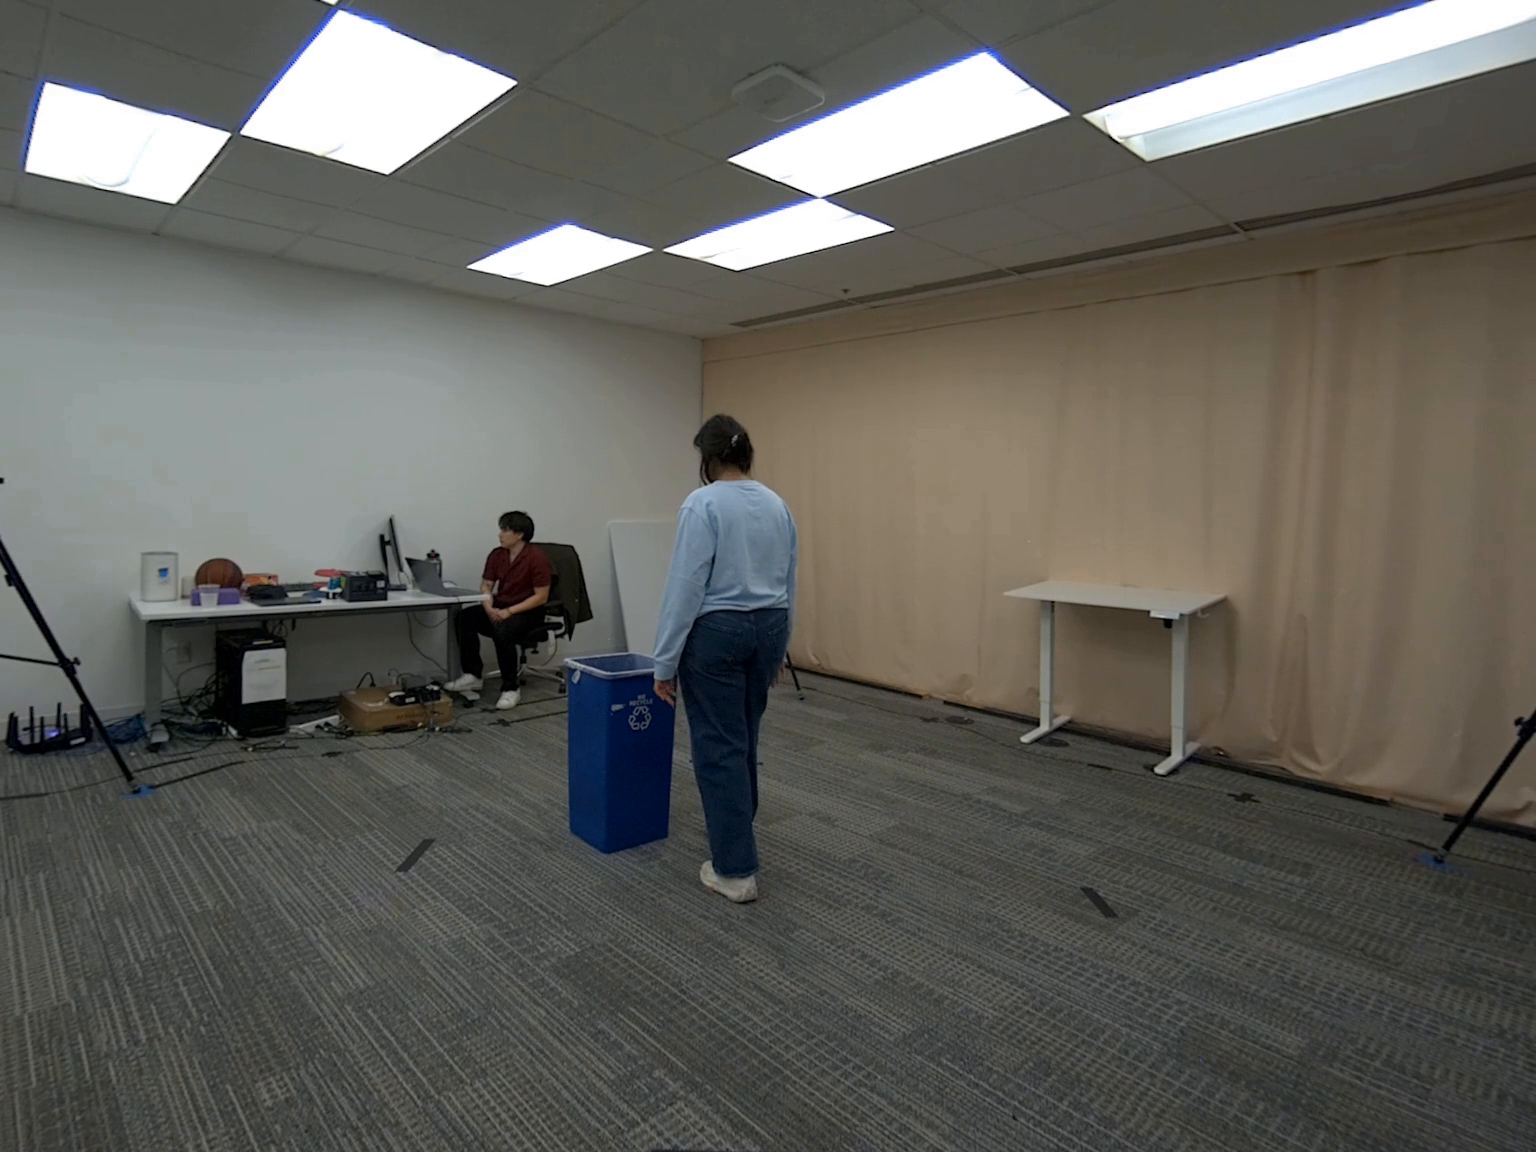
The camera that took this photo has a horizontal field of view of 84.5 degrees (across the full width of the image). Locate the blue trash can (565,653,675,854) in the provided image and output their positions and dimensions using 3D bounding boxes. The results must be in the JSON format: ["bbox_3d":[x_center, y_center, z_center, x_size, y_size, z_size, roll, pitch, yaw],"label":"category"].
[{"bbox_3d":[-0.609,0.707,3.458,0.365,0.712,0.388,-1,4,-40],"label":"blue trash can"}]
